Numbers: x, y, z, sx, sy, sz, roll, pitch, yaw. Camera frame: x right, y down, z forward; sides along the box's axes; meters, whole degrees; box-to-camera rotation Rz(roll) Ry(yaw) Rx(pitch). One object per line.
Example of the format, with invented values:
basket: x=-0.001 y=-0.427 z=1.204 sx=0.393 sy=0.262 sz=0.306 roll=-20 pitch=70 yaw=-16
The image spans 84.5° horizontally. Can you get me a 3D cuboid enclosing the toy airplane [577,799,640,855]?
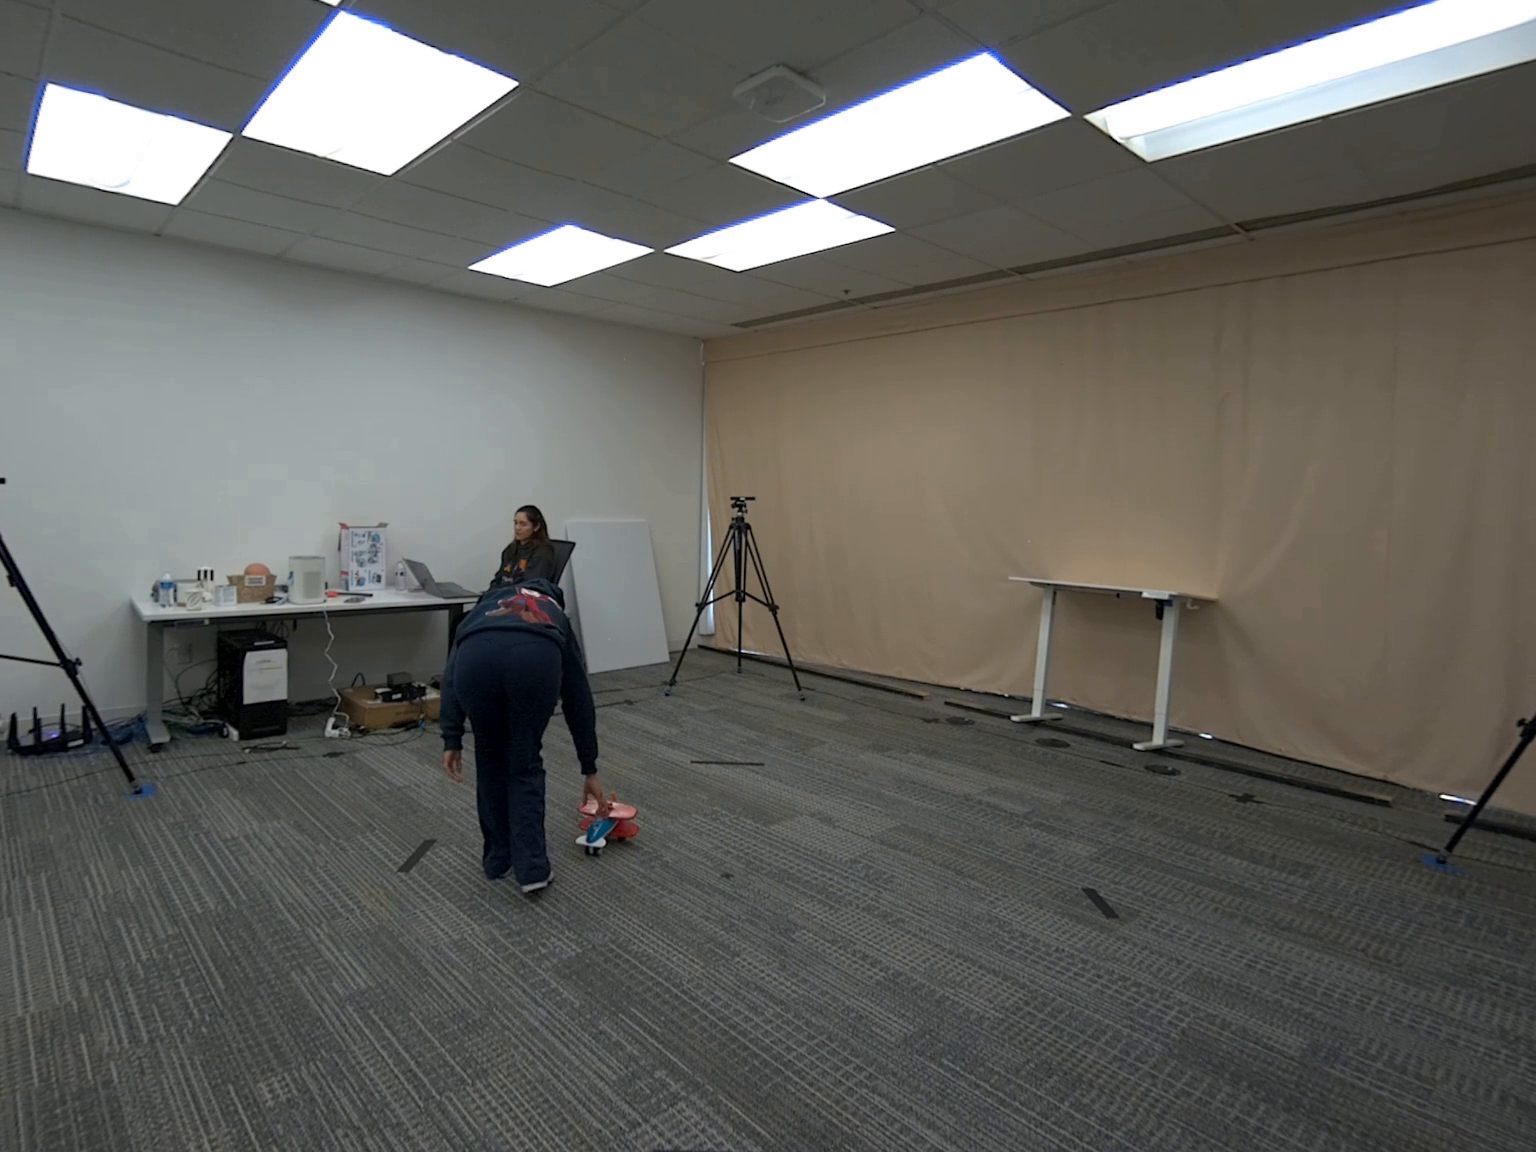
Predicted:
toy airplane: x=-0.639 y=1.003 z=3.332 sx=0.249 sy=0.156 sz=0.262 roll=-1 pitch=5 yaw=-12
